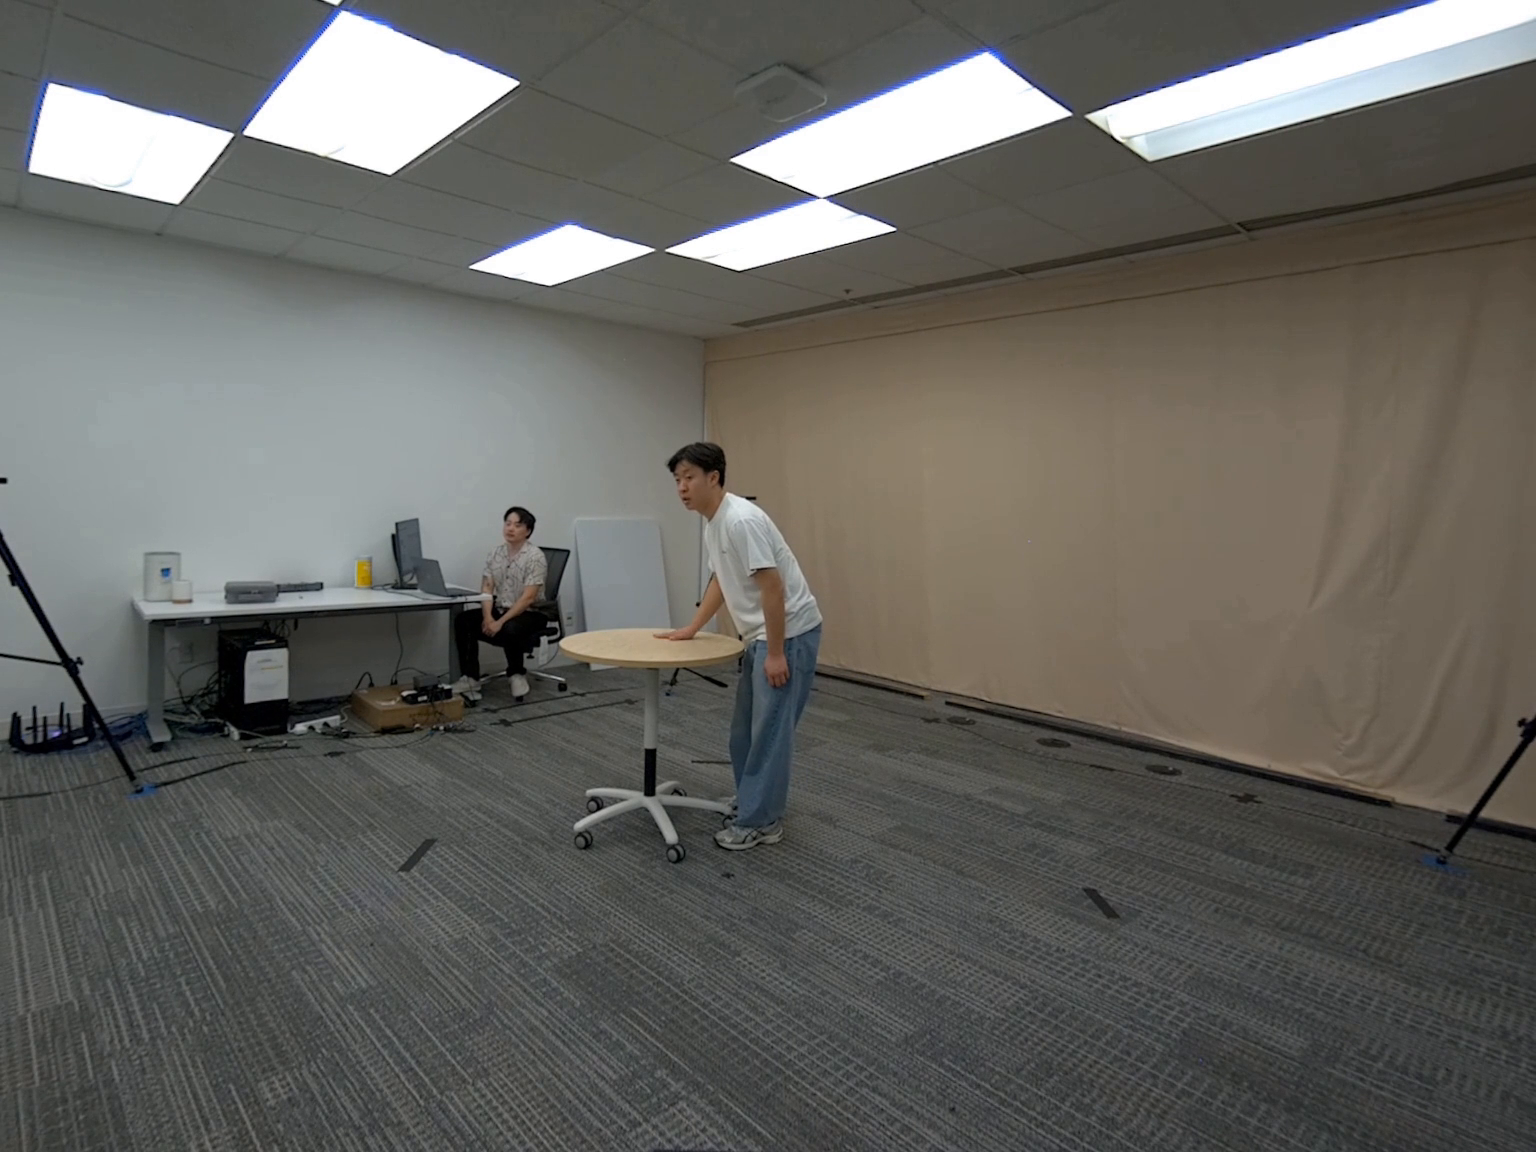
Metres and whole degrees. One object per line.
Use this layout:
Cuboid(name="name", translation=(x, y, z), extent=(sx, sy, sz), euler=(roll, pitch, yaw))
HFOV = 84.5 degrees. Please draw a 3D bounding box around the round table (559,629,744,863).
Cuboid(name="round table", translation=(-0.495, 0.670, 3.507), extent=(0.763, 0.792, 0.766), euler=(1, 4, -1))
